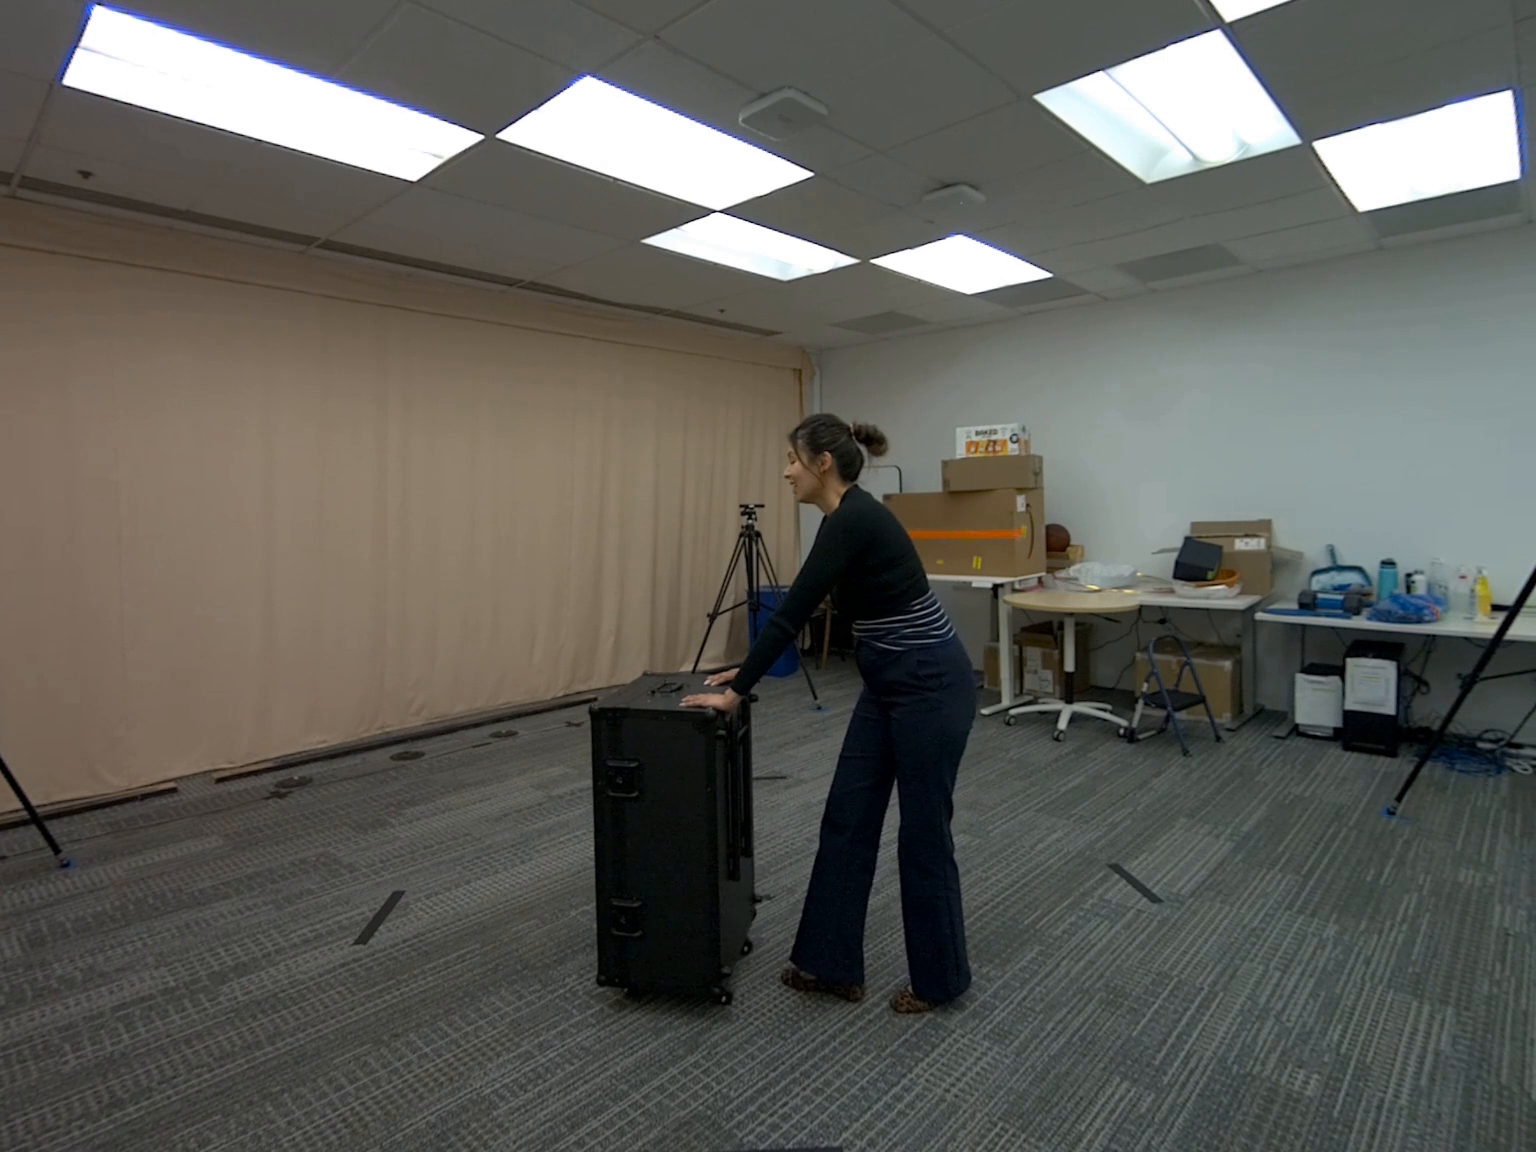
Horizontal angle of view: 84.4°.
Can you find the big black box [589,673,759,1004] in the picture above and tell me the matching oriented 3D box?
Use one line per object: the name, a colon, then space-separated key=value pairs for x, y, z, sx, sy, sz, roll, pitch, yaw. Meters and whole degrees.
big black box: x=-0.249 y=0.765 z=2.506 sx=0.402 sy=0.860 sz=0.515 roll=1 pitch=3 yaw=11
